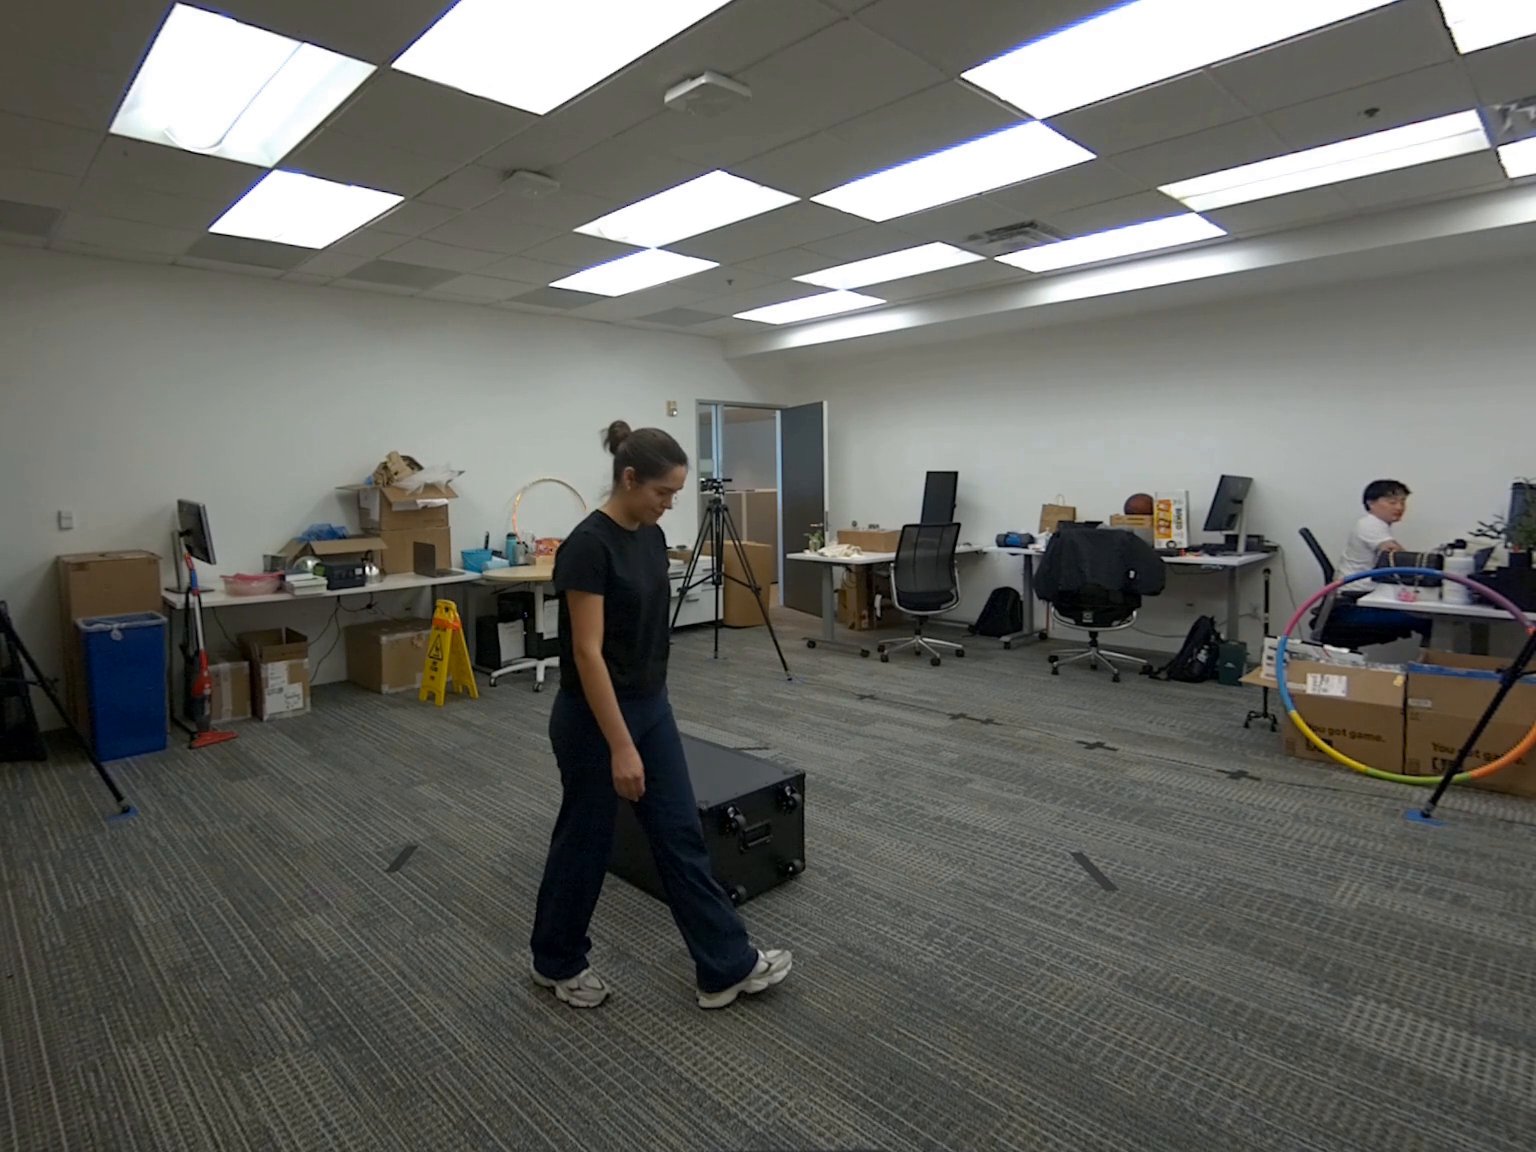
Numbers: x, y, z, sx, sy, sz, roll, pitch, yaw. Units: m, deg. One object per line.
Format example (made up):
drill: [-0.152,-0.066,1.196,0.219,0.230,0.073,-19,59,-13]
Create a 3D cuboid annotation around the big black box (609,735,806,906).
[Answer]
big black box: [-0.296,0.861,3.094,0.507,0.395,0.888,-6,8,-45]
